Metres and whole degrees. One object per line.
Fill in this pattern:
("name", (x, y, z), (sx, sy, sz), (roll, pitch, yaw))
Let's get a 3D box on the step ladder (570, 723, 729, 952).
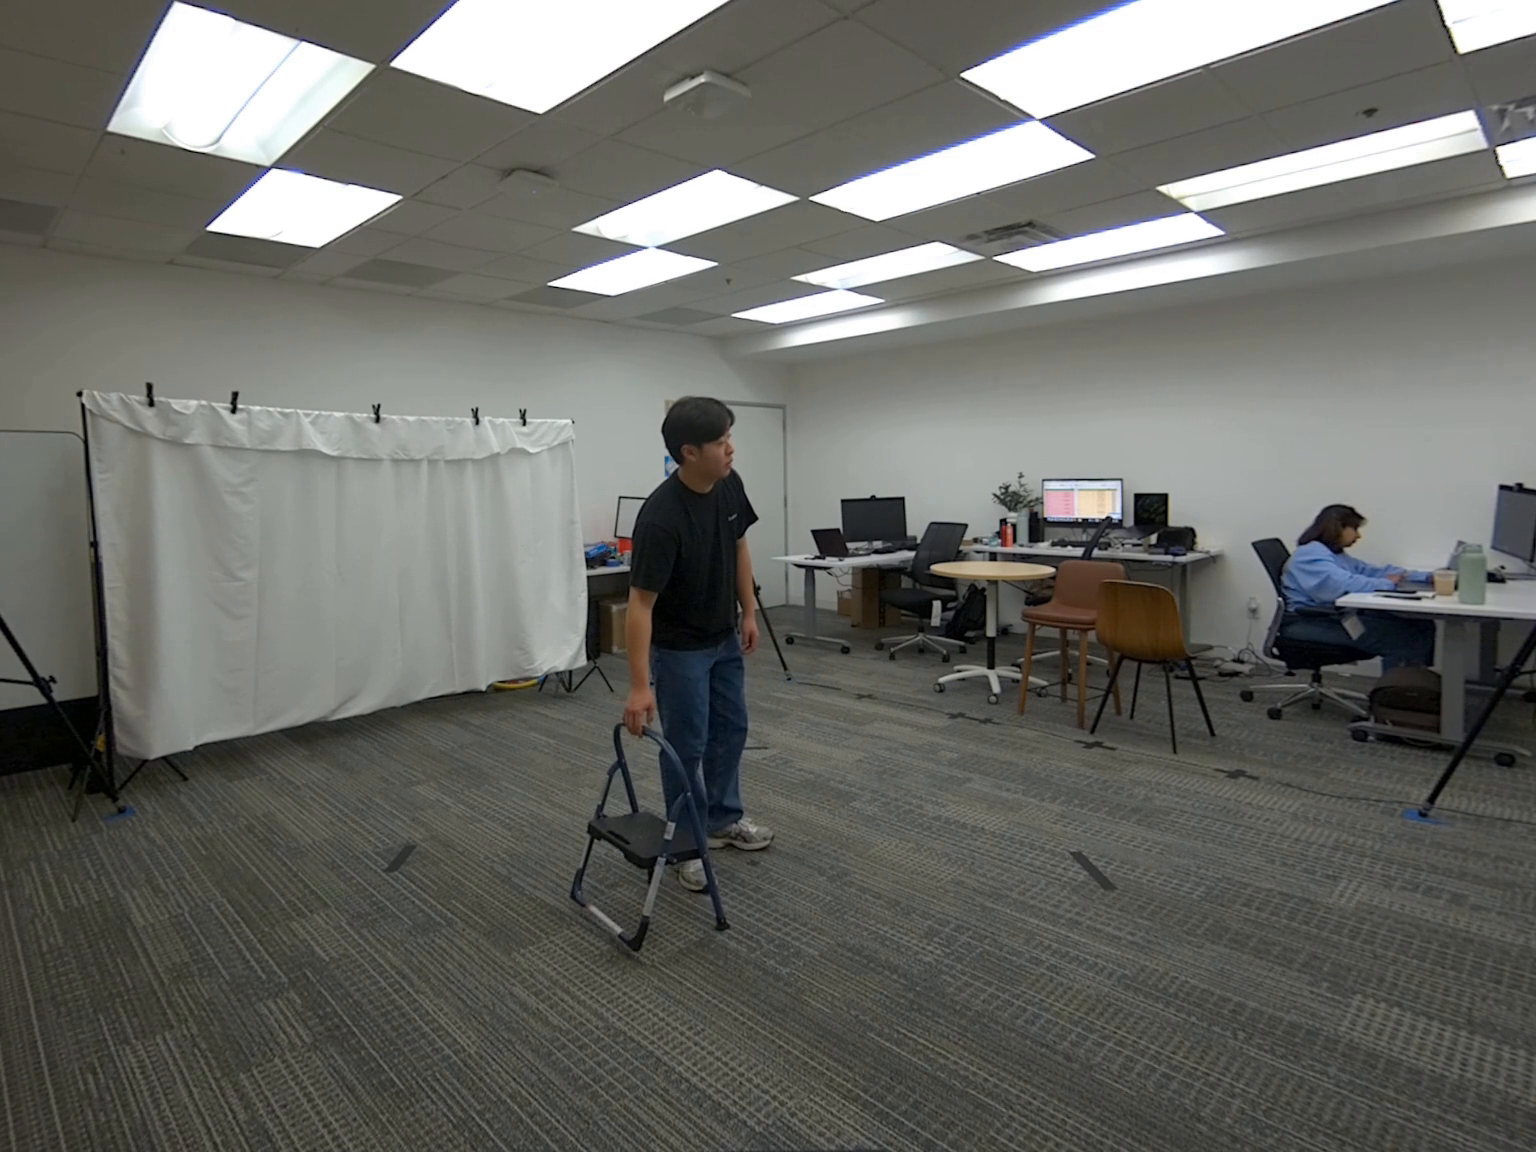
("step ladder", (-0.367, 0.775, 2.723), (0.339, 0.606, 0.444), (4, 1, -39))
